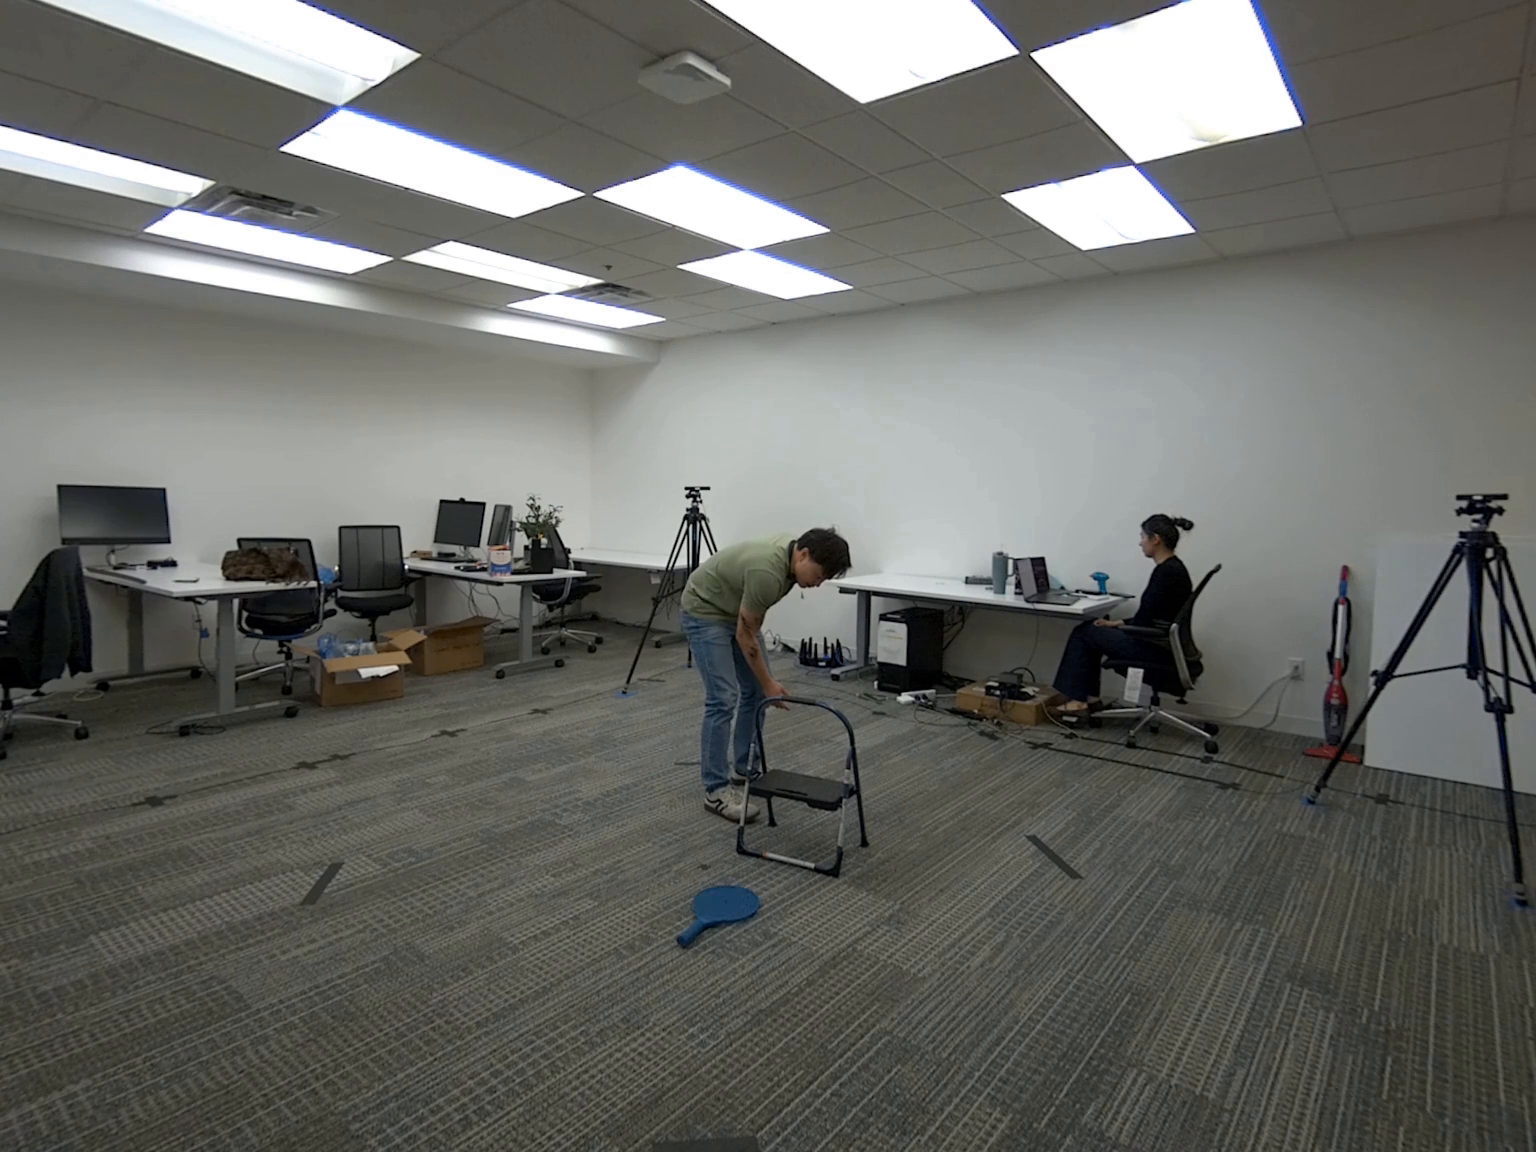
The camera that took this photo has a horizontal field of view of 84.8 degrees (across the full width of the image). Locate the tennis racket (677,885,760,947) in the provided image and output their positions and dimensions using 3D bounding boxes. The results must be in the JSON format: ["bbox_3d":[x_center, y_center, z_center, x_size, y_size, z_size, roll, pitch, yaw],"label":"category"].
[{"bbox_3d":[-0.168,1.074,2.760,0.219,0.031,0.423,9,8,23],"label":"tennis racket"}]
